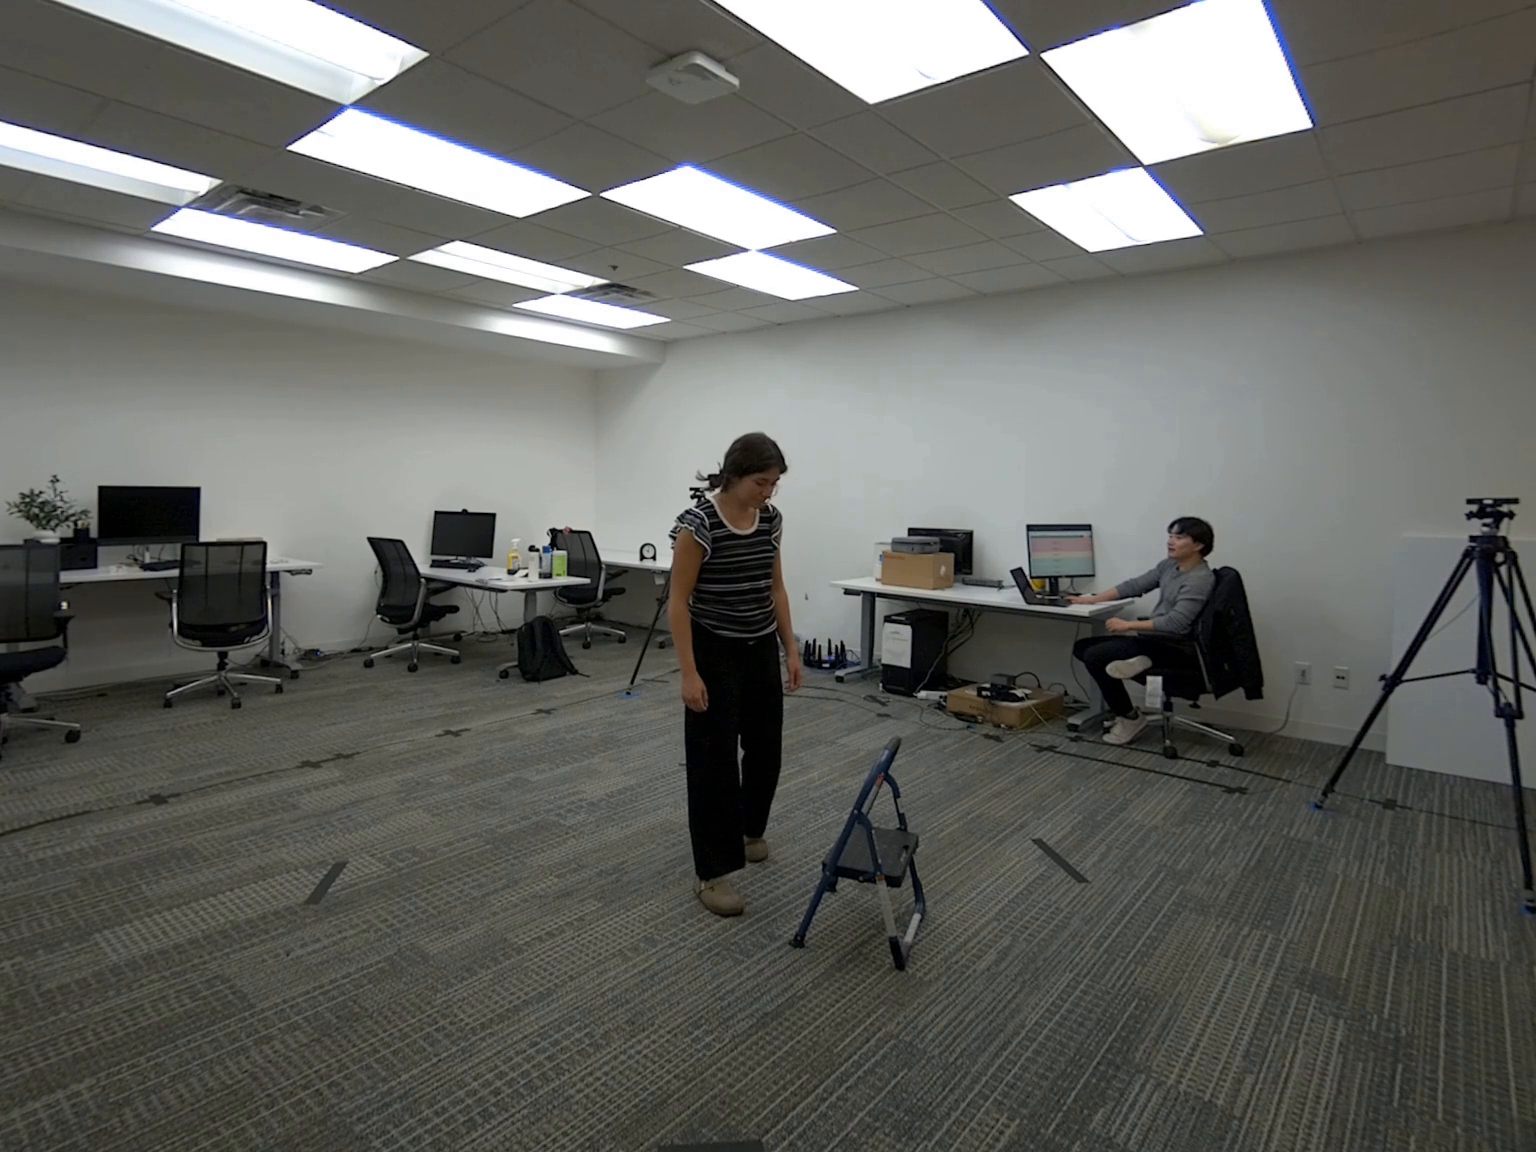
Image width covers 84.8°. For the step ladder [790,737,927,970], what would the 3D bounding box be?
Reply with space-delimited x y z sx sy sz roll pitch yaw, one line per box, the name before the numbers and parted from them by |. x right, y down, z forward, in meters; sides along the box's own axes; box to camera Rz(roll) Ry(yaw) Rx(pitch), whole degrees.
step ladder | 0.301 0.817 2.704 0.357 0.604 0.422 3 4 20
